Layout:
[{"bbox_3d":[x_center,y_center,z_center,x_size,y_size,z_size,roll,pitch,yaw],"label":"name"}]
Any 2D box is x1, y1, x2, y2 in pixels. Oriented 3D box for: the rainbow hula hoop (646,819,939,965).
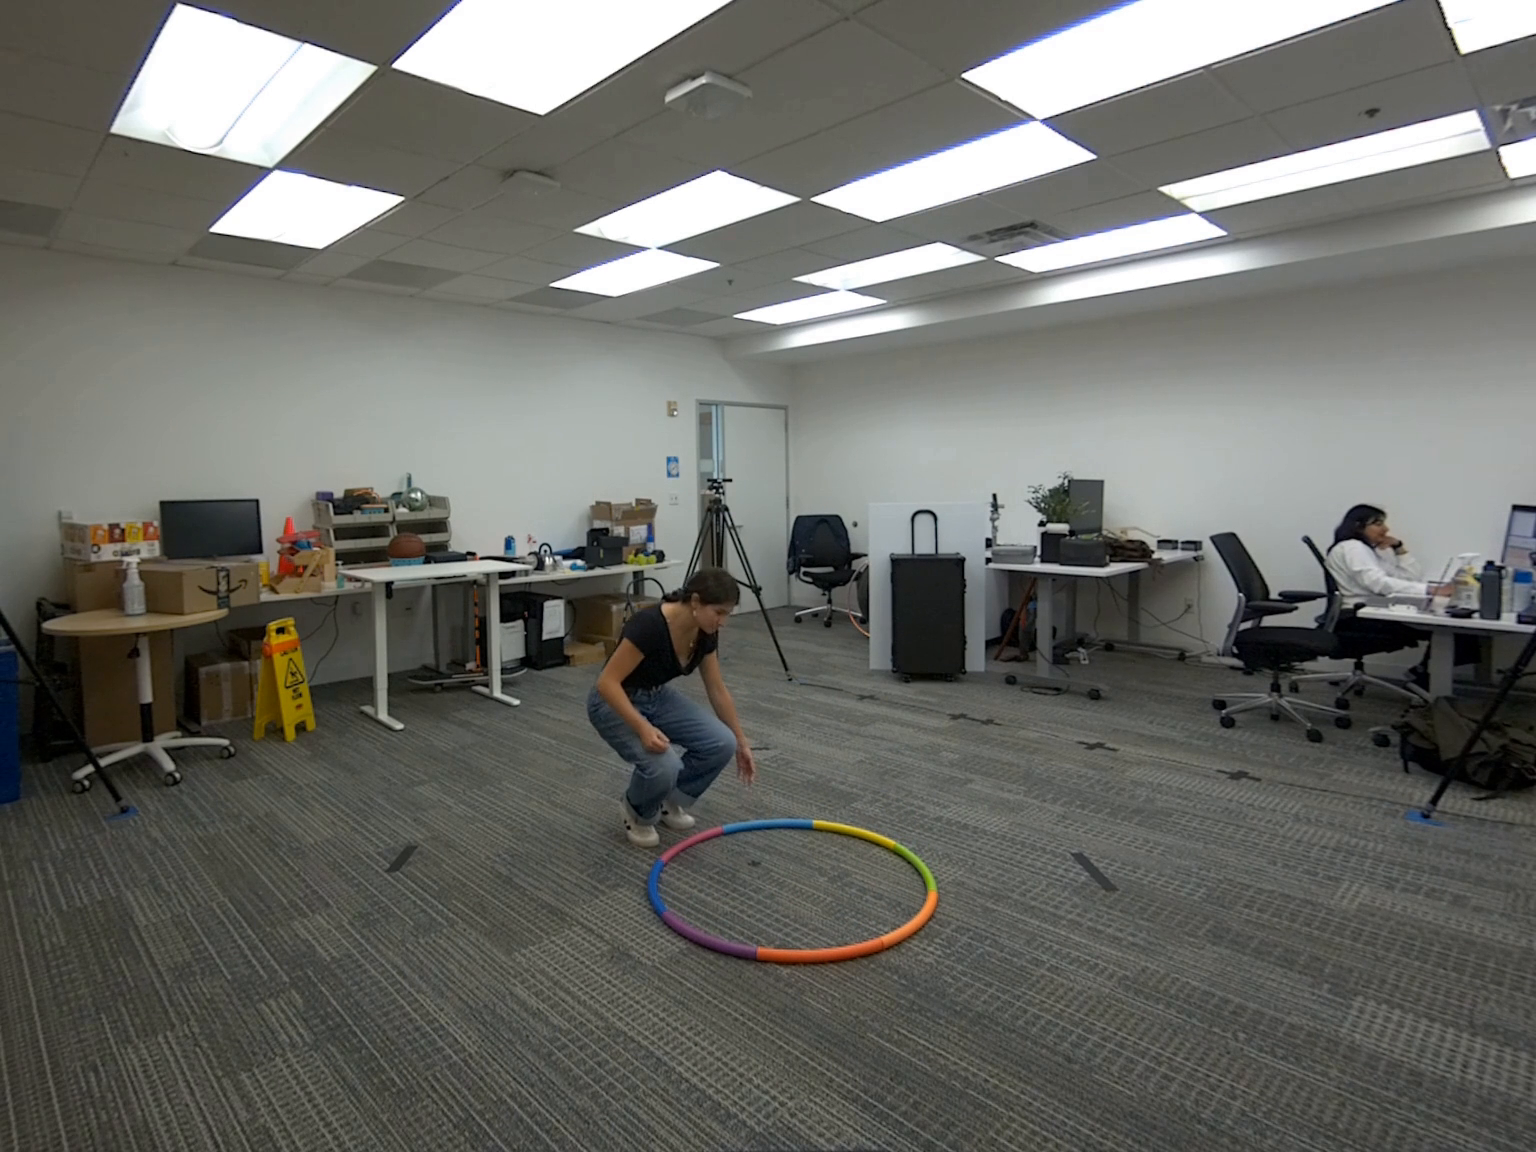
[{"bbox_3d":[0.072,1.033,2.946,0.978,0.035,0.984,-1,7,-2],"label":"rainbow hula hoop"}]
